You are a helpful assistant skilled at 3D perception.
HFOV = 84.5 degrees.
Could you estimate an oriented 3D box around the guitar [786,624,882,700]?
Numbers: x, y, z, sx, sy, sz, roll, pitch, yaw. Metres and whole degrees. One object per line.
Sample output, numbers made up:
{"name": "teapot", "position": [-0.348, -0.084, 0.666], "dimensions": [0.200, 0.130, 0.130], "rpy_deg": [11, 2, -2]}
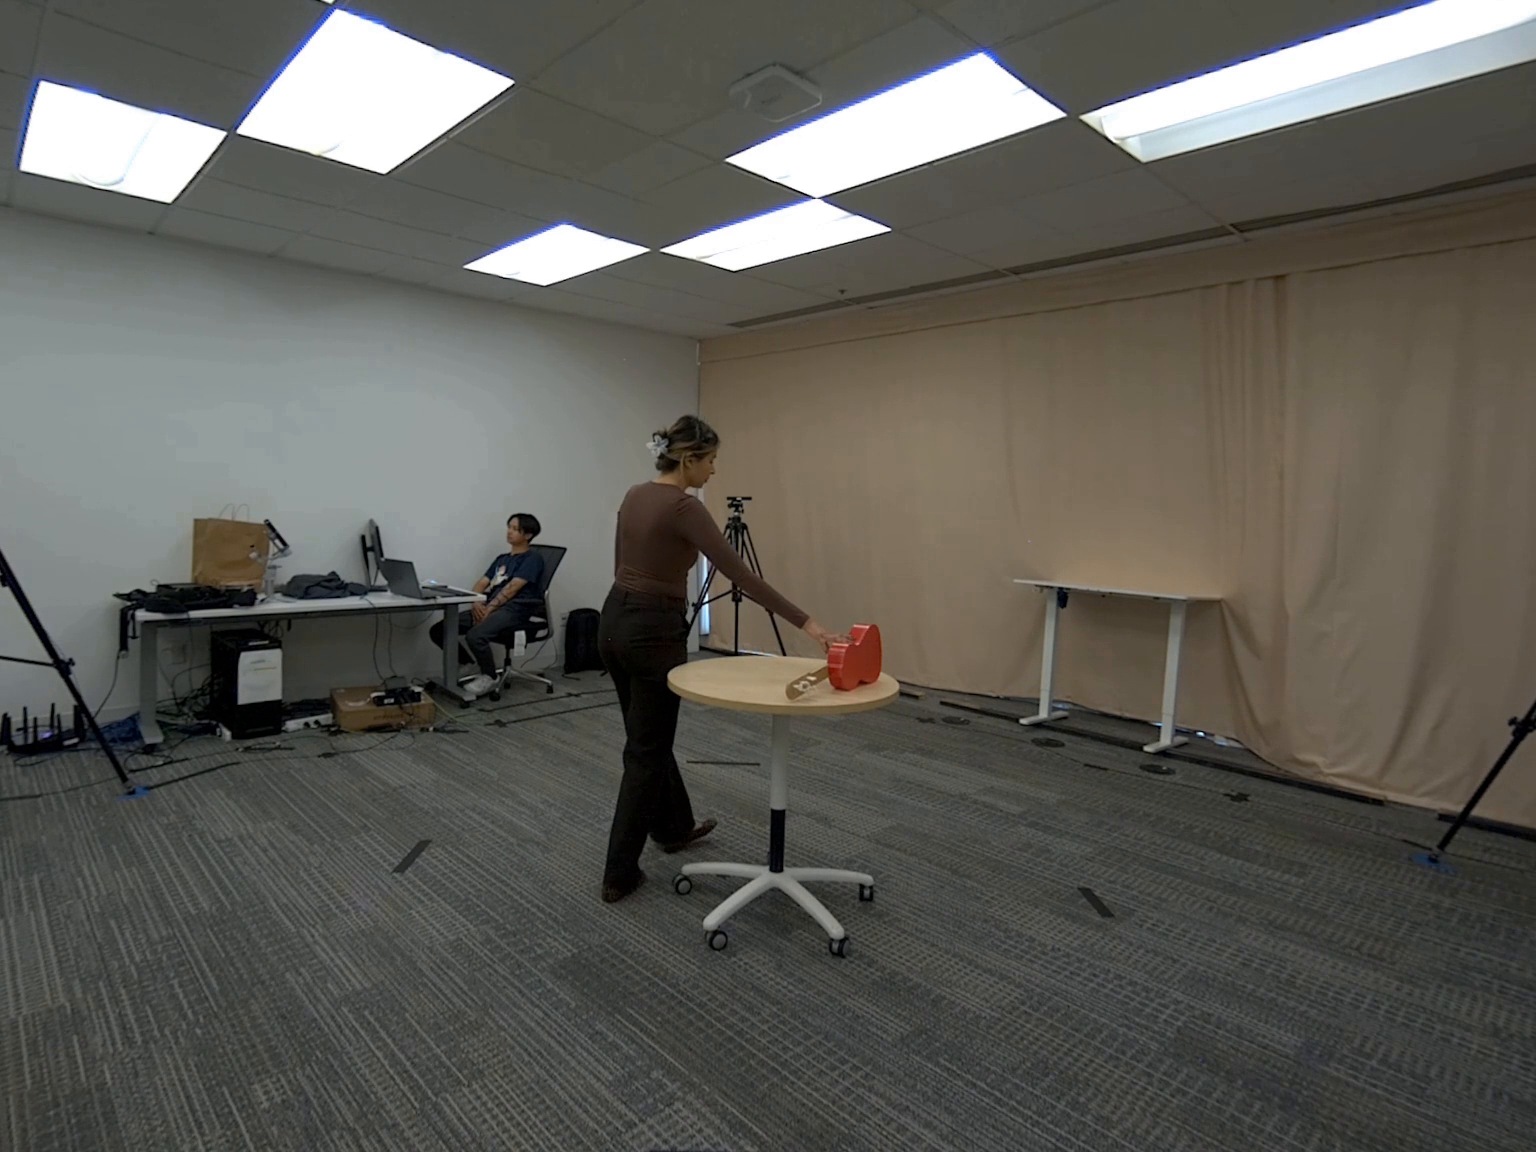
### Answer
{"name": "guitar", "position": [0.214, 0.320, 2.638], "dimensions": [0.072, 0.190, 0.493], "rpy_deg": [3, 22, 33]}
